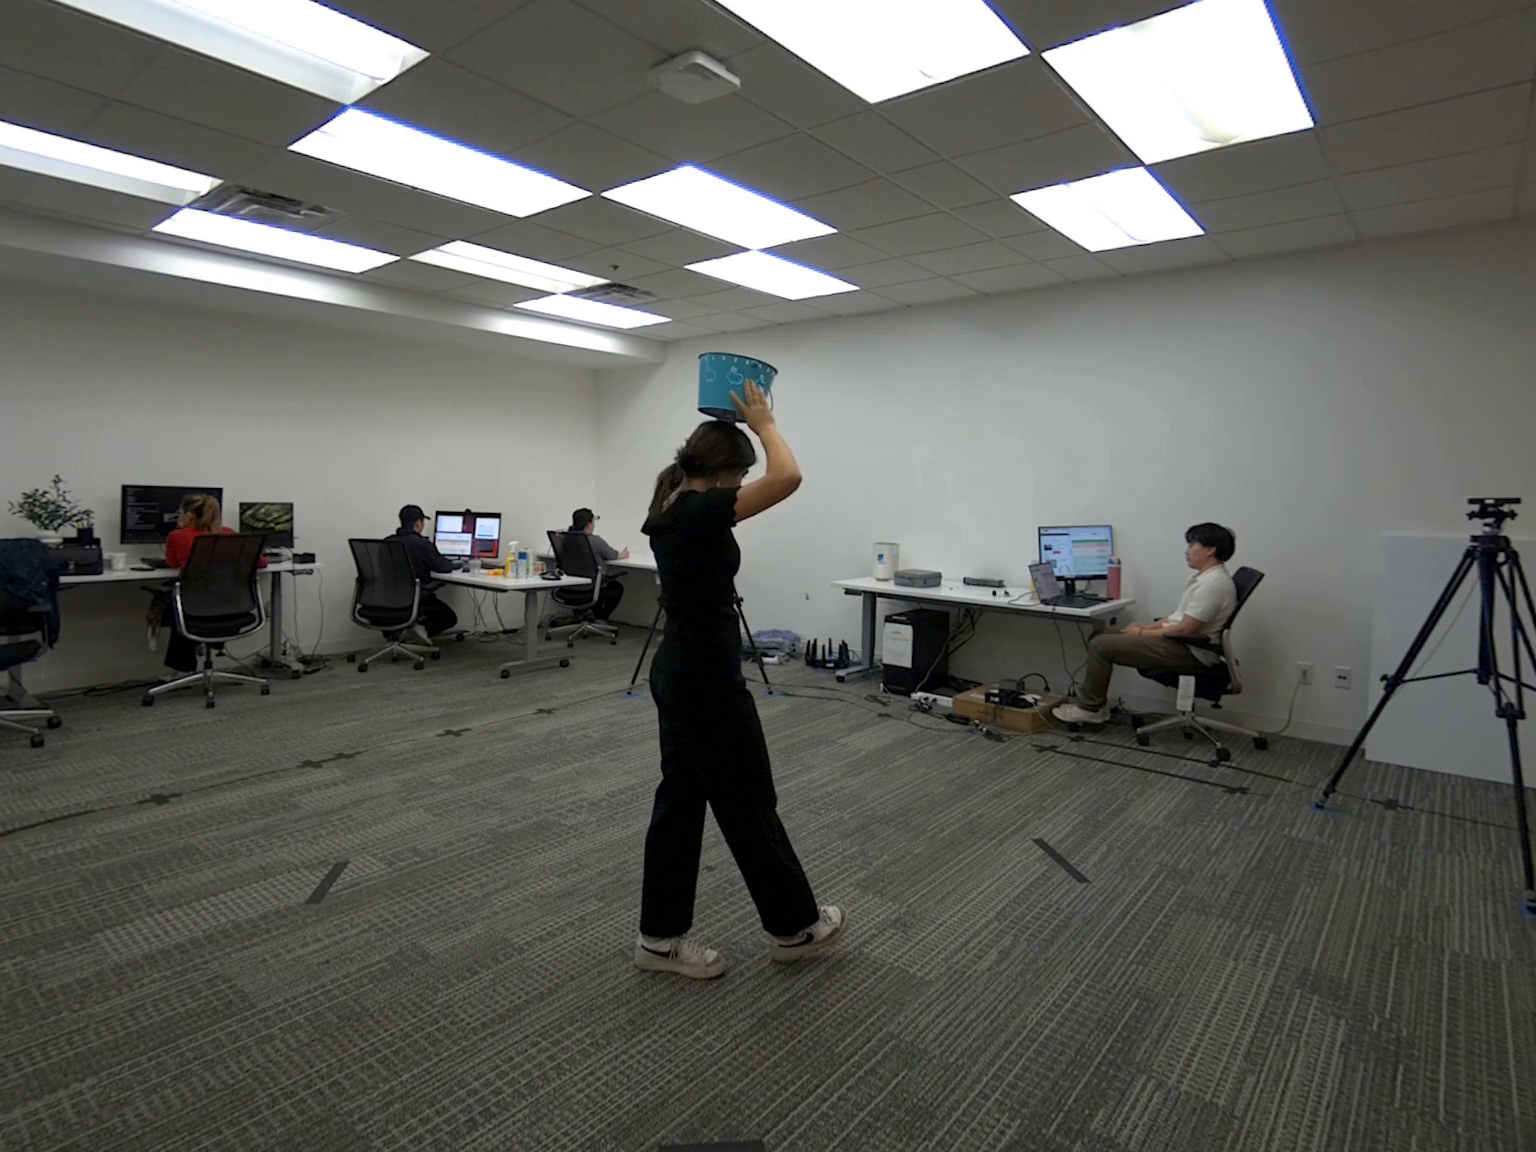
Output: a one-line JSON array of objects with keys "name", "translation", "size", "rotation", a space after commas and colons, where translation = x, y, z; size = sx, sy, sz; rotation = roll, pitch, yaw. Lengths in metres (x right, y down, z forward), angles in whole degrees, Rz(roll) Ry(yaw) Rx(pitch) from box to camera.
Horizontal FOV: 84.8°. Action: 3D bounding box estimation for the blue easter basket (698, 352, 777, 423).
[{"name": "blue easter basket", "translation": [-0.100, -0.538, 2.434], "size": [0.243, 0.156, 0.244], "rotation": [11, 0, -2]}]
